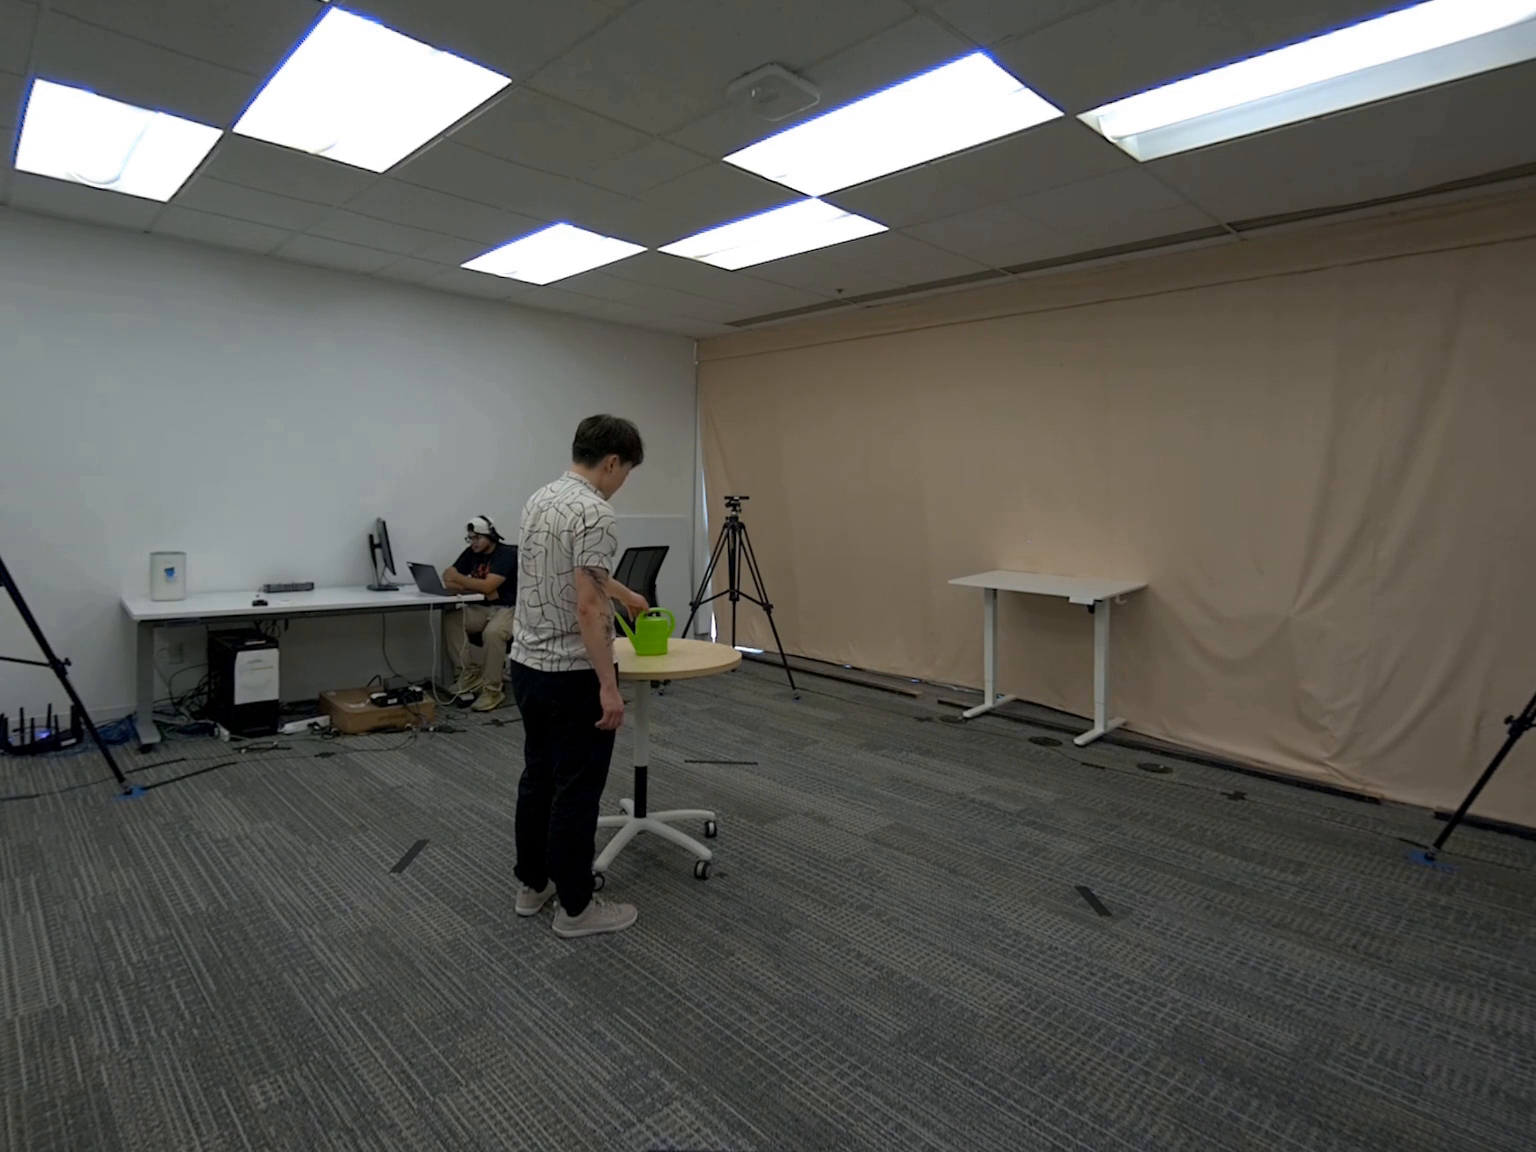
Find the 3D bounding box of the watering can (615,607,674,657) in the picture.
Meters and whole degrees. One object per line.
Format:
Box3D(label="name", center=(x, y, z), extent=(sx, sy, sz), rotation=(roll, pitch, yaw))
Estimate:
Box3D(label="watering can", center=(-0.499, 0.211, 3.228), extent=(0.276, 0.176, 0.099), rotation=(1, 3, -10))
